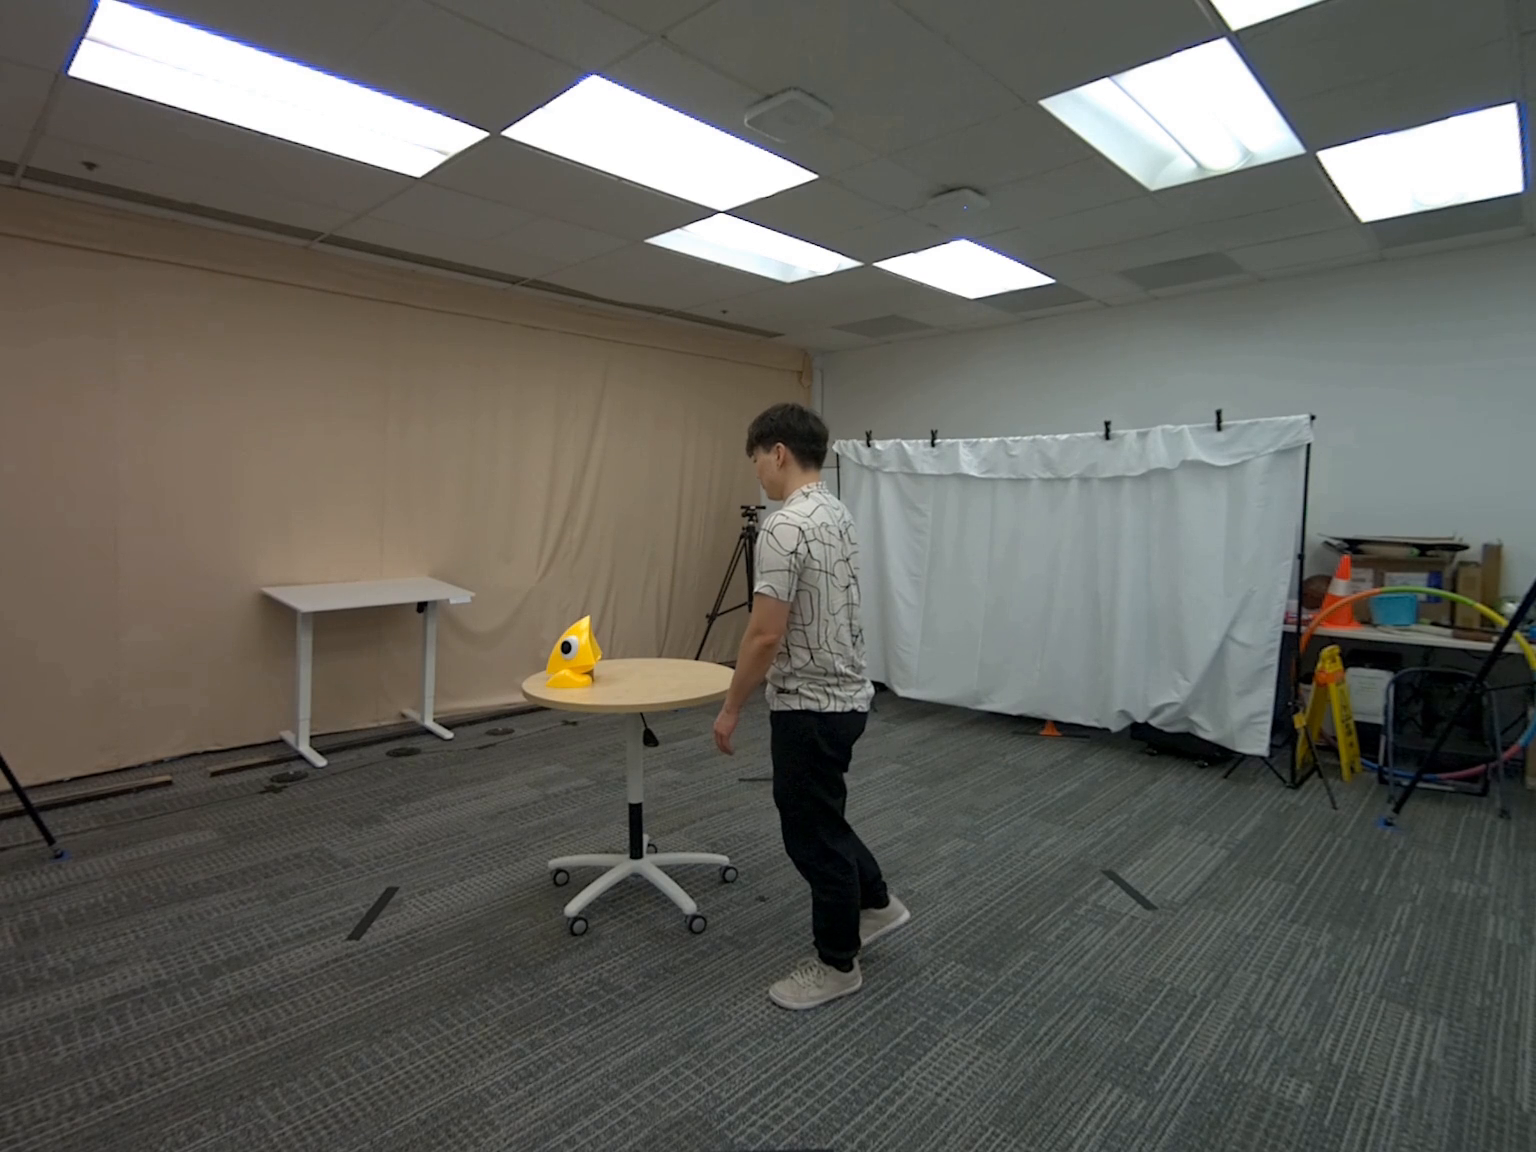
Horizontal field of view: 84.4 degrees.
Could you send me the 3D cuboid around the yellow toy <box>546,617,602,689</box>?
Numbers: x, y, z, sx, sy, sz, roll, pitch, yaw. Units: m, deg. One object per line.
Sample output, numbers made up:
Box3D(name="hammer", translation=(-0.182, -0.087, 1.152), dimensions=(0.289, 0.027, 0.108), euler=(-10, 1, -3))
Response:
Box3D(name="yellow toy", translation=(-0.684, 0.253, 2.938), dimensions=(0.192, 0.230, 0.206), euler=(2, 4, -4))
